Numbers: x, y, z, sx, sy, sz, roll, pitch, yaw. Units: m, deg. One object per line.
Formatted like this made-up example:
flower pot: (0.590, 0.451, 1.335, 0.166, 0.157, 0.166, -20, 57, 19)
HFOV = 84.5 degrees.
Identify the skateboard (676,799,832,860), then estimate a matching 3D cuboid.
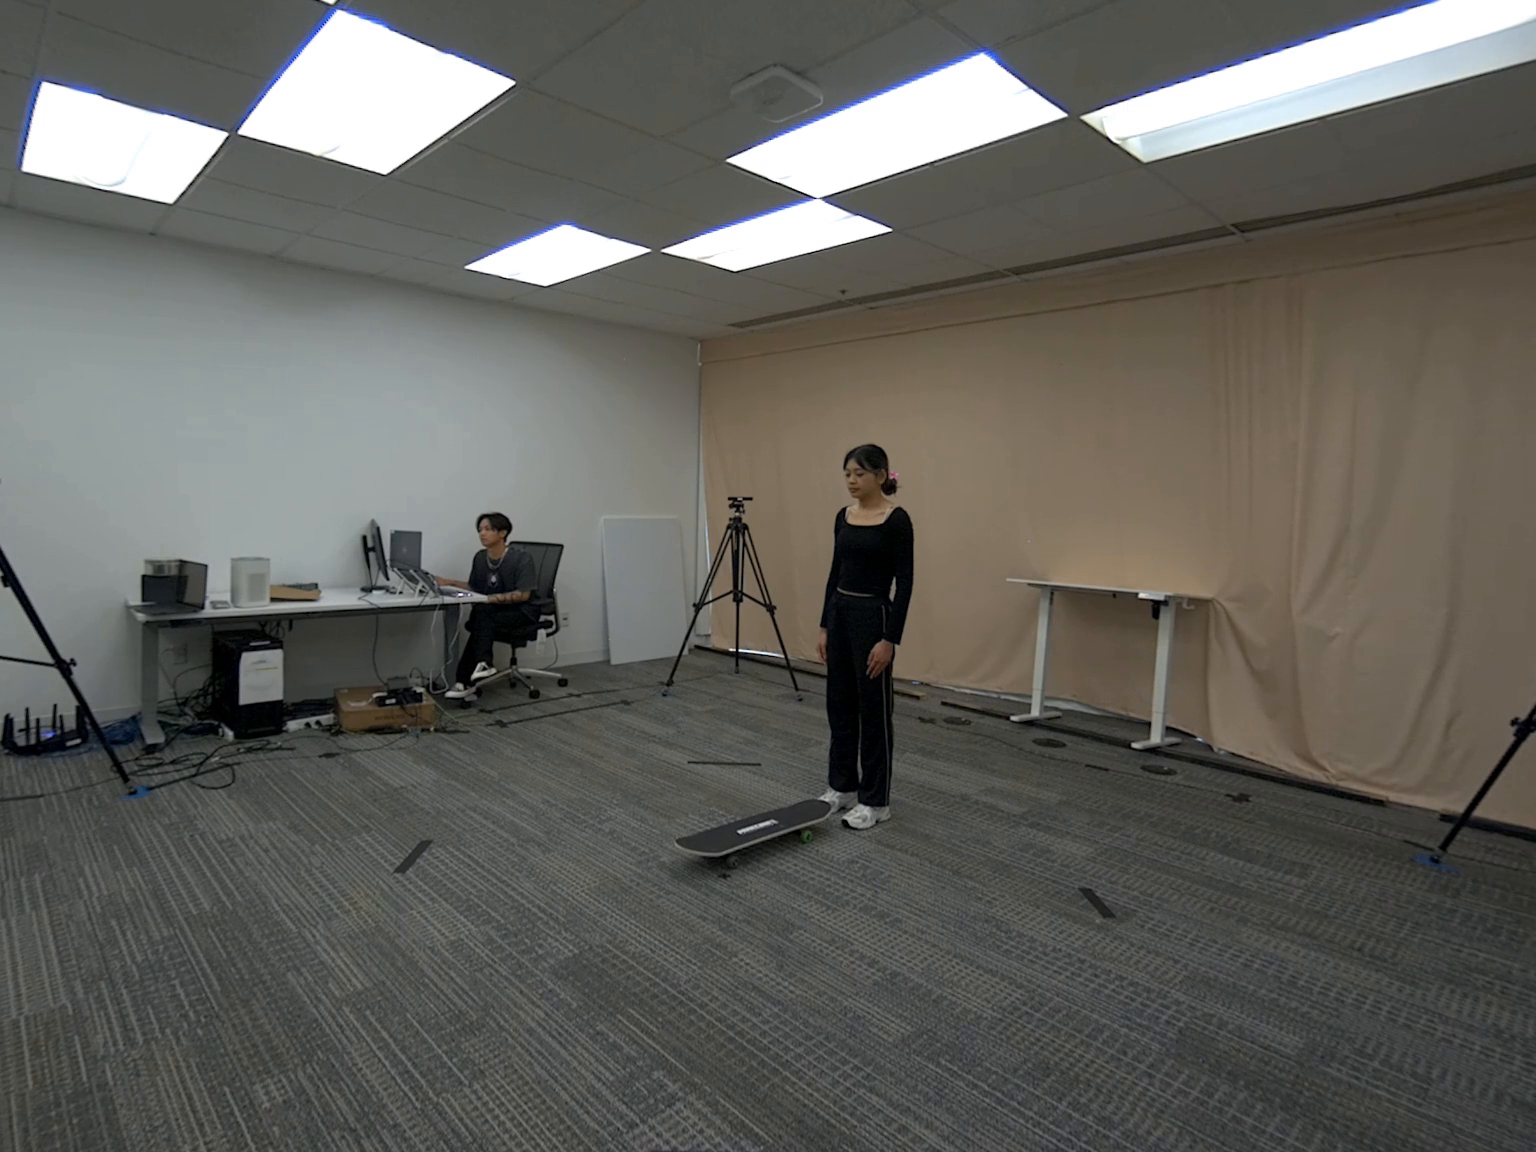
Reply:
skateboard: (-0.046, 1.032, 3.356, 0.767, 0.110, 0.198, -3, 7, -43)
